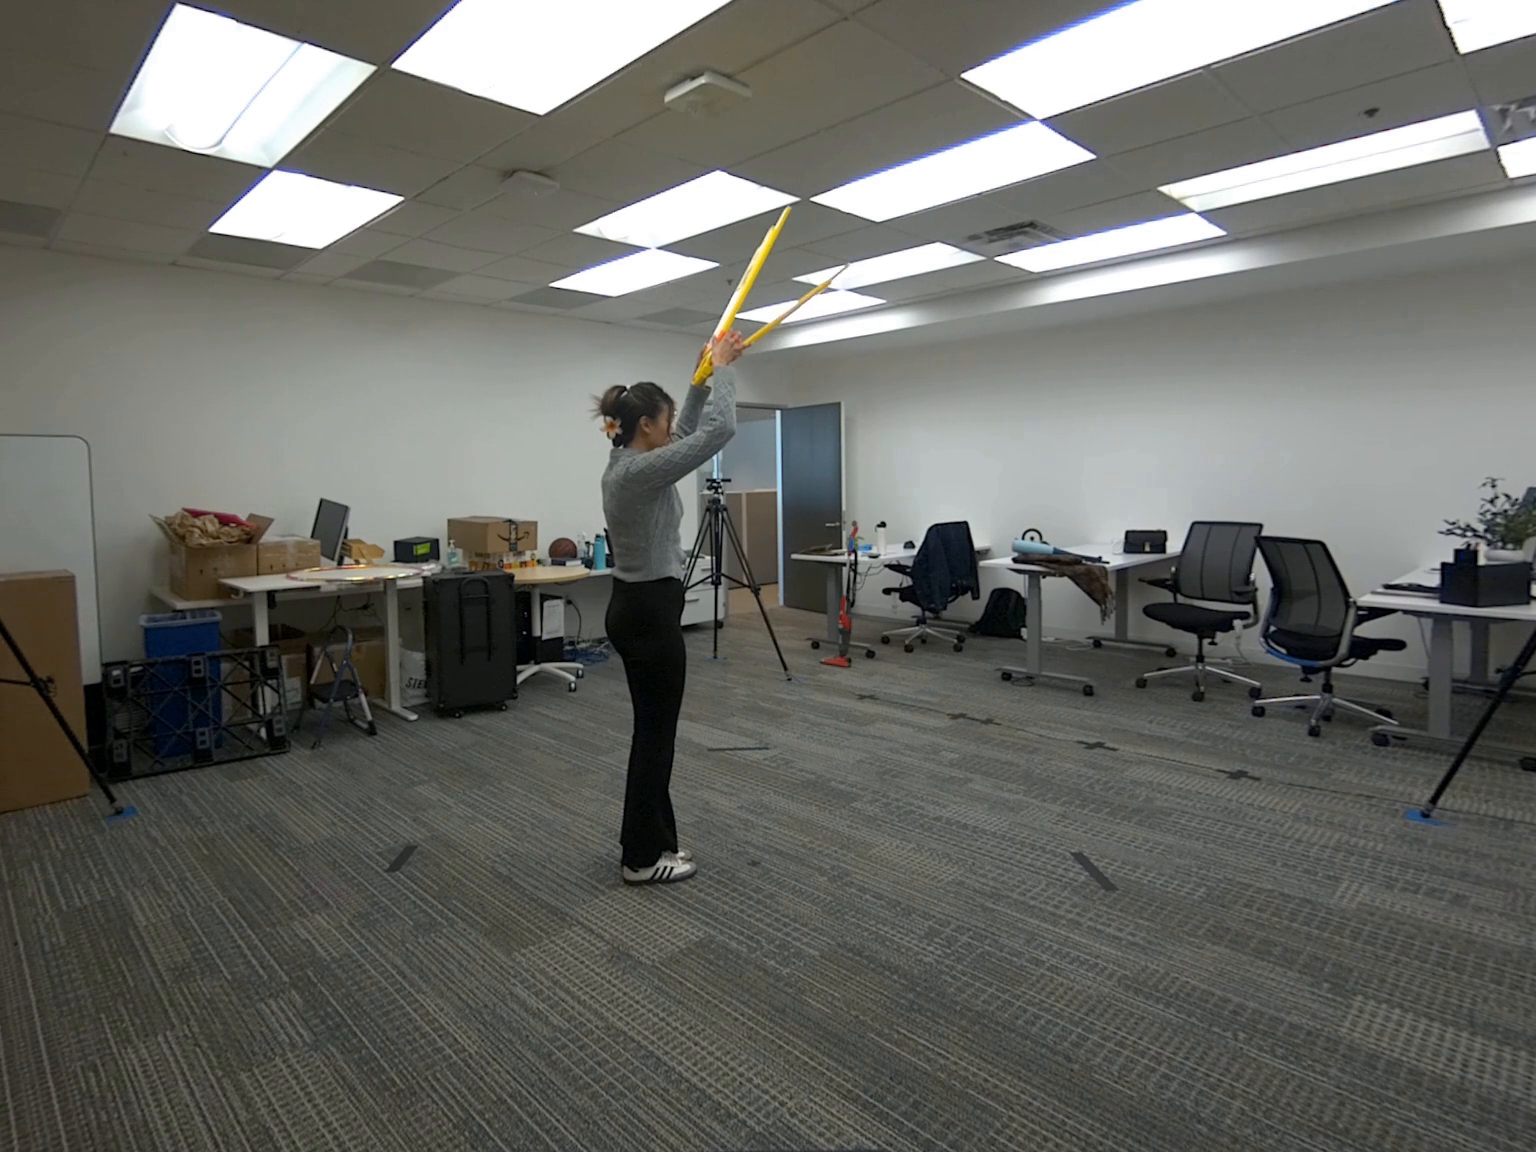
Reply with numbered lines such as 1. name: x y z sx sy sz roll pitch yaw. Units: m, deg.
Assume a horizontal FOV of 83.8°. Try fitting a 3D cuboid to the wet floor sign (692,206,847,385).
1. wet floor sign: -0.049 -0.935 3.040 0.286 0.646 0.286 41 -7 -11
